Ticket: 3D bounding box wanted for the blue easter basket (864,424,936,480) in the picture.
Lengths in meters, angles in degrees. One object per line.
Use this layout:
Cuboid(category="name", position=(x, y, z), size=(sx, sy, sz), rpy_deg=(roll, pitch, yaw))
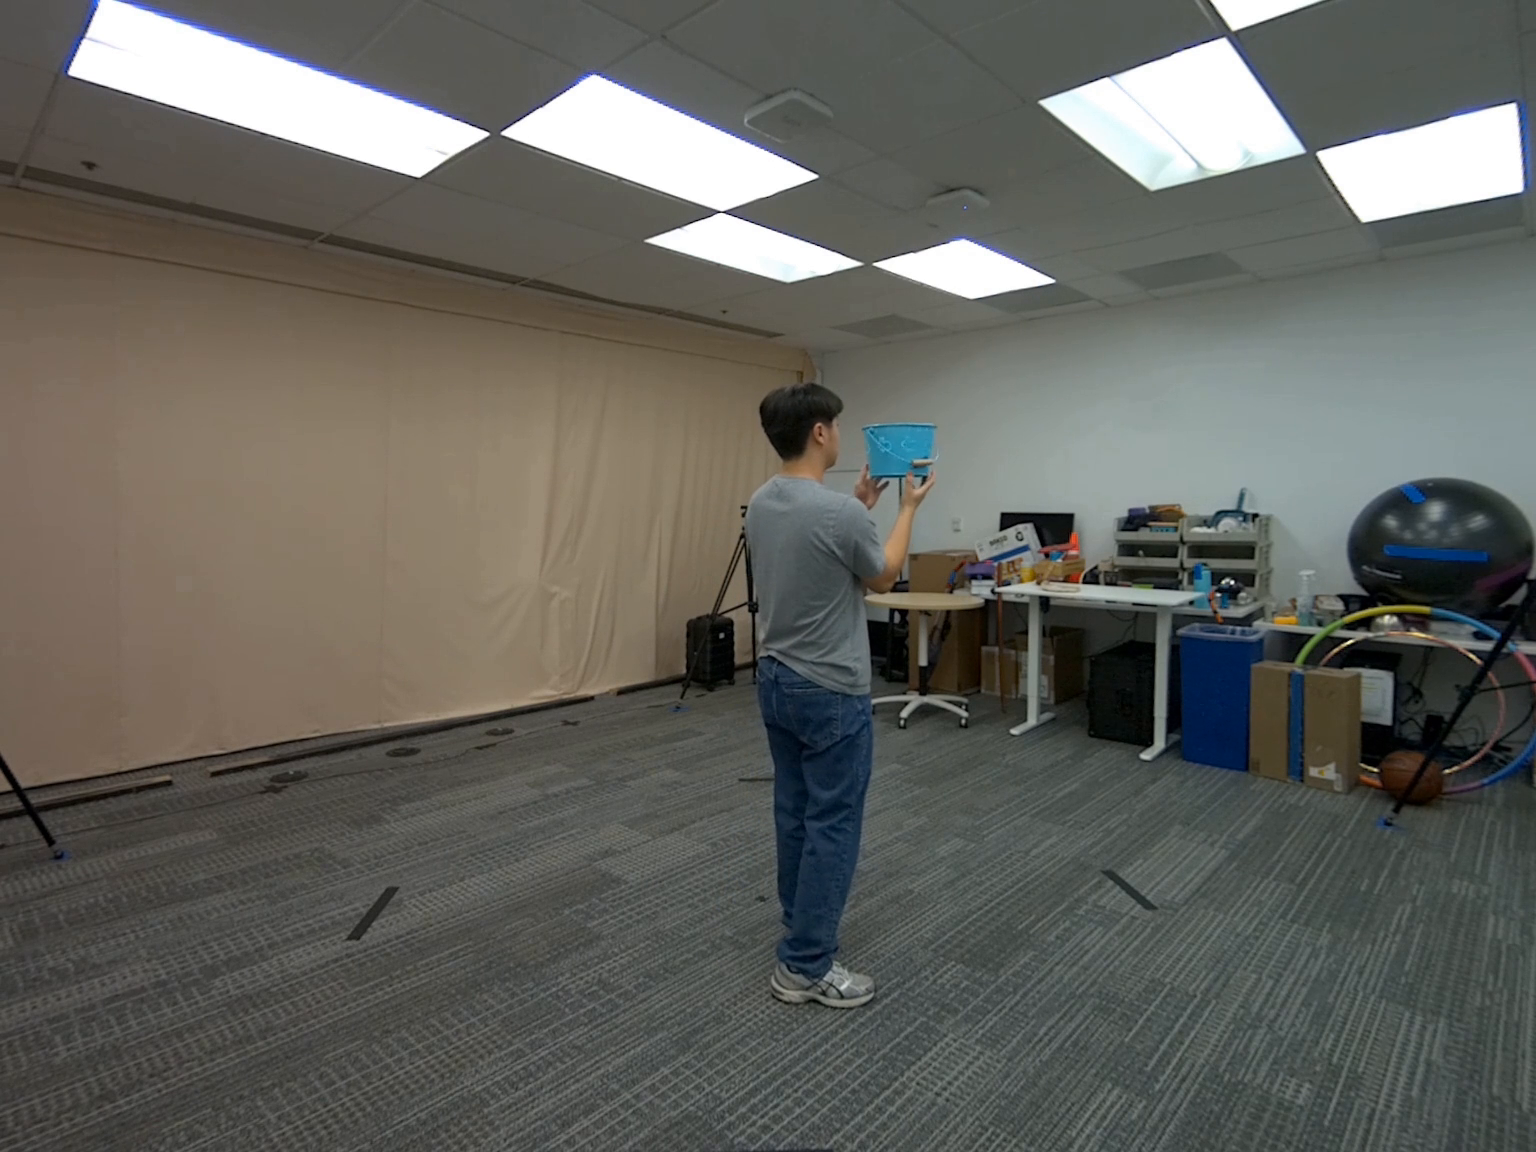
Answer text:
Cuboid(category="blue easter basket", position=(0.416, -0.391, 2.627), size=(0.243, 0.156, 0.244), rpy_deg=(-2, 2, -2))
